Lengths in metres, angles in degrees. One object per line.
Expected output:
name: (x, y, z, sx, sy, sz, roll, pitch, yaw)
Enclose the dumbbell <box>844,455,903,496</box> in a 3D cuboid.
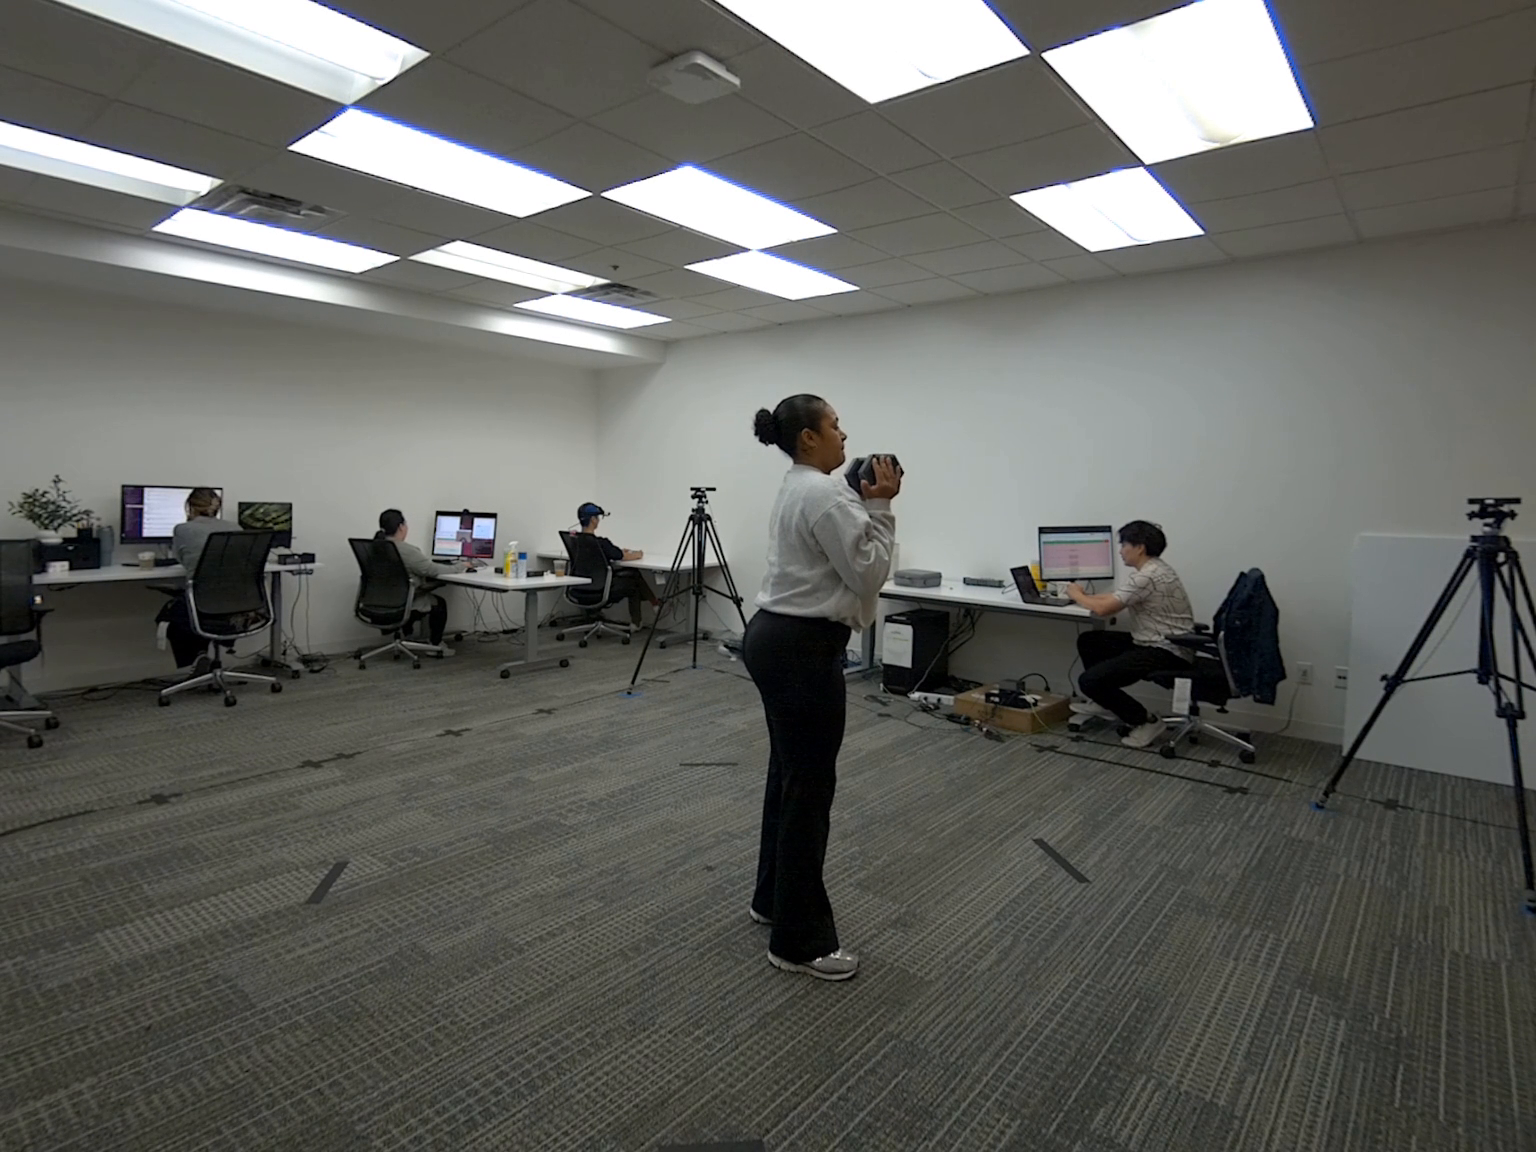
dumbbell: (0.302, -0.308, 2.576, 0.108, 0.122, 0.296, -32, 7, -2)
